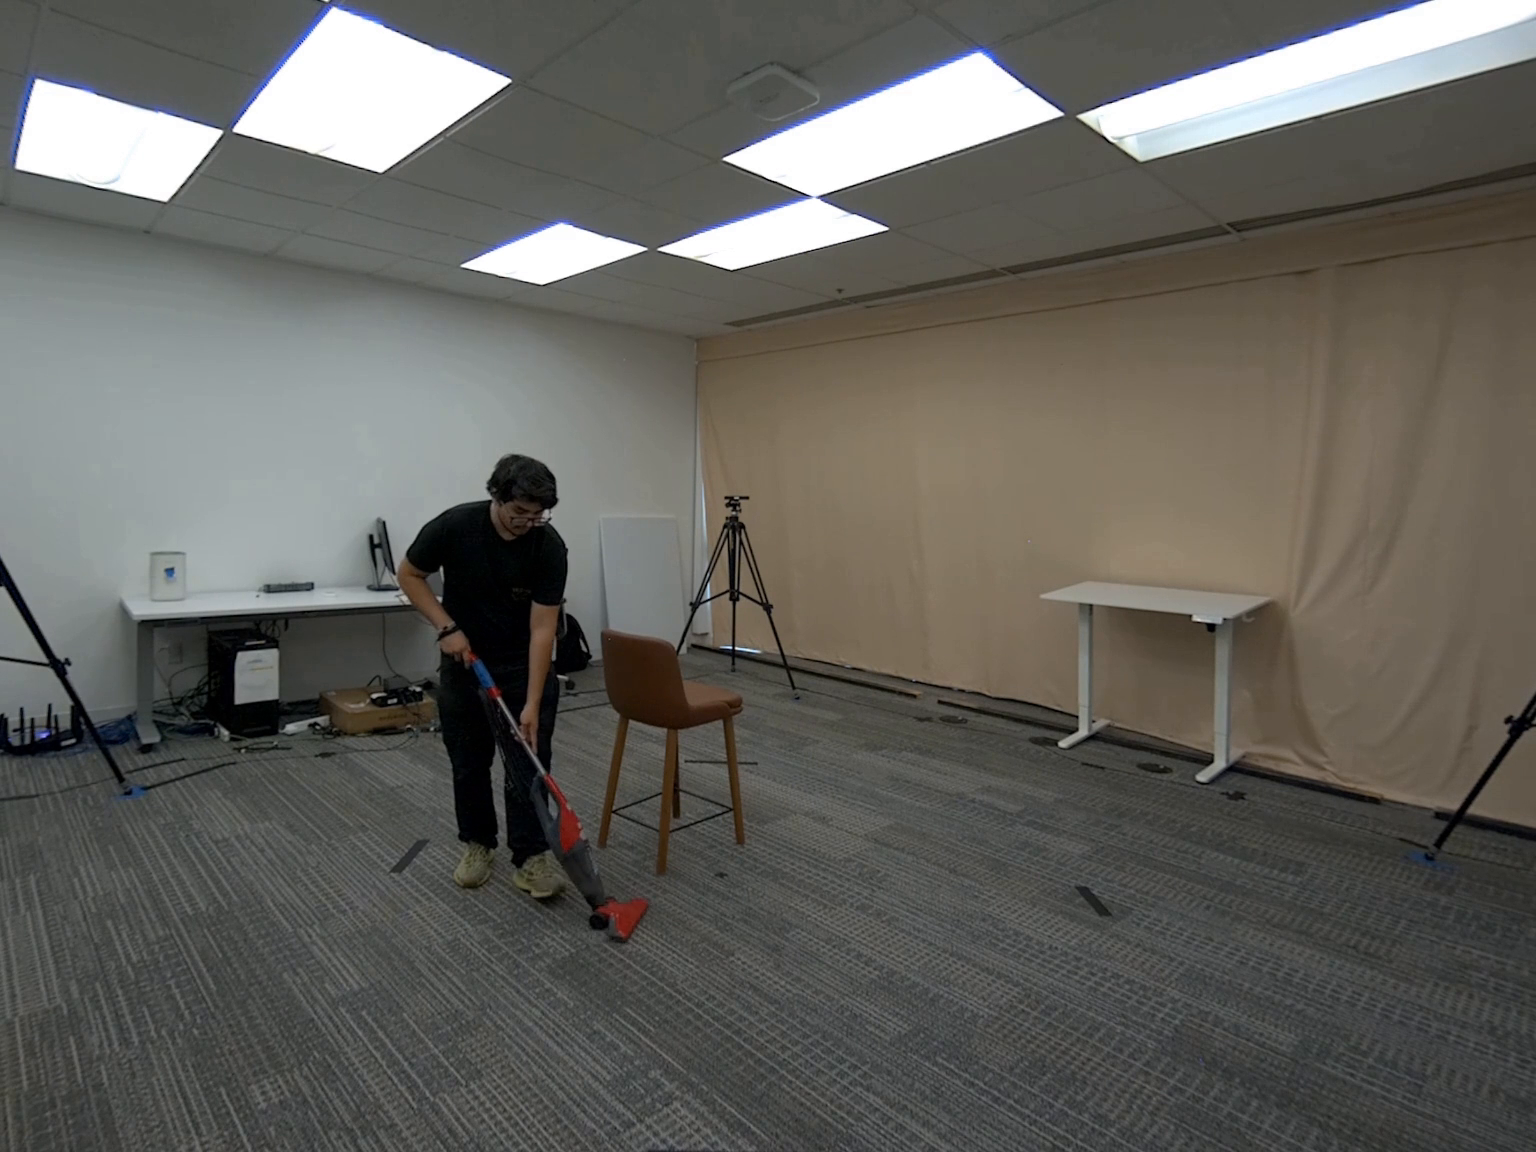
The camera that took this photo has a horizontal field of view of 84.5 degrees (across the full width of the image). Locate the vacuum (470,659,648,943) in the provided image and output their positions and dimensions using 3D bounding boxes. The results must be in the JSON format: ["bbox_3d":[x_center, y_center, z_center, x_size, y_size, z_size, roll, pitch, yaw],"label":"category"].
[{"bbox_3d":[-0.774,0.682,2.779,0.144,1.054,0.251,-34,-4,13],"label":"vacuum"}]
